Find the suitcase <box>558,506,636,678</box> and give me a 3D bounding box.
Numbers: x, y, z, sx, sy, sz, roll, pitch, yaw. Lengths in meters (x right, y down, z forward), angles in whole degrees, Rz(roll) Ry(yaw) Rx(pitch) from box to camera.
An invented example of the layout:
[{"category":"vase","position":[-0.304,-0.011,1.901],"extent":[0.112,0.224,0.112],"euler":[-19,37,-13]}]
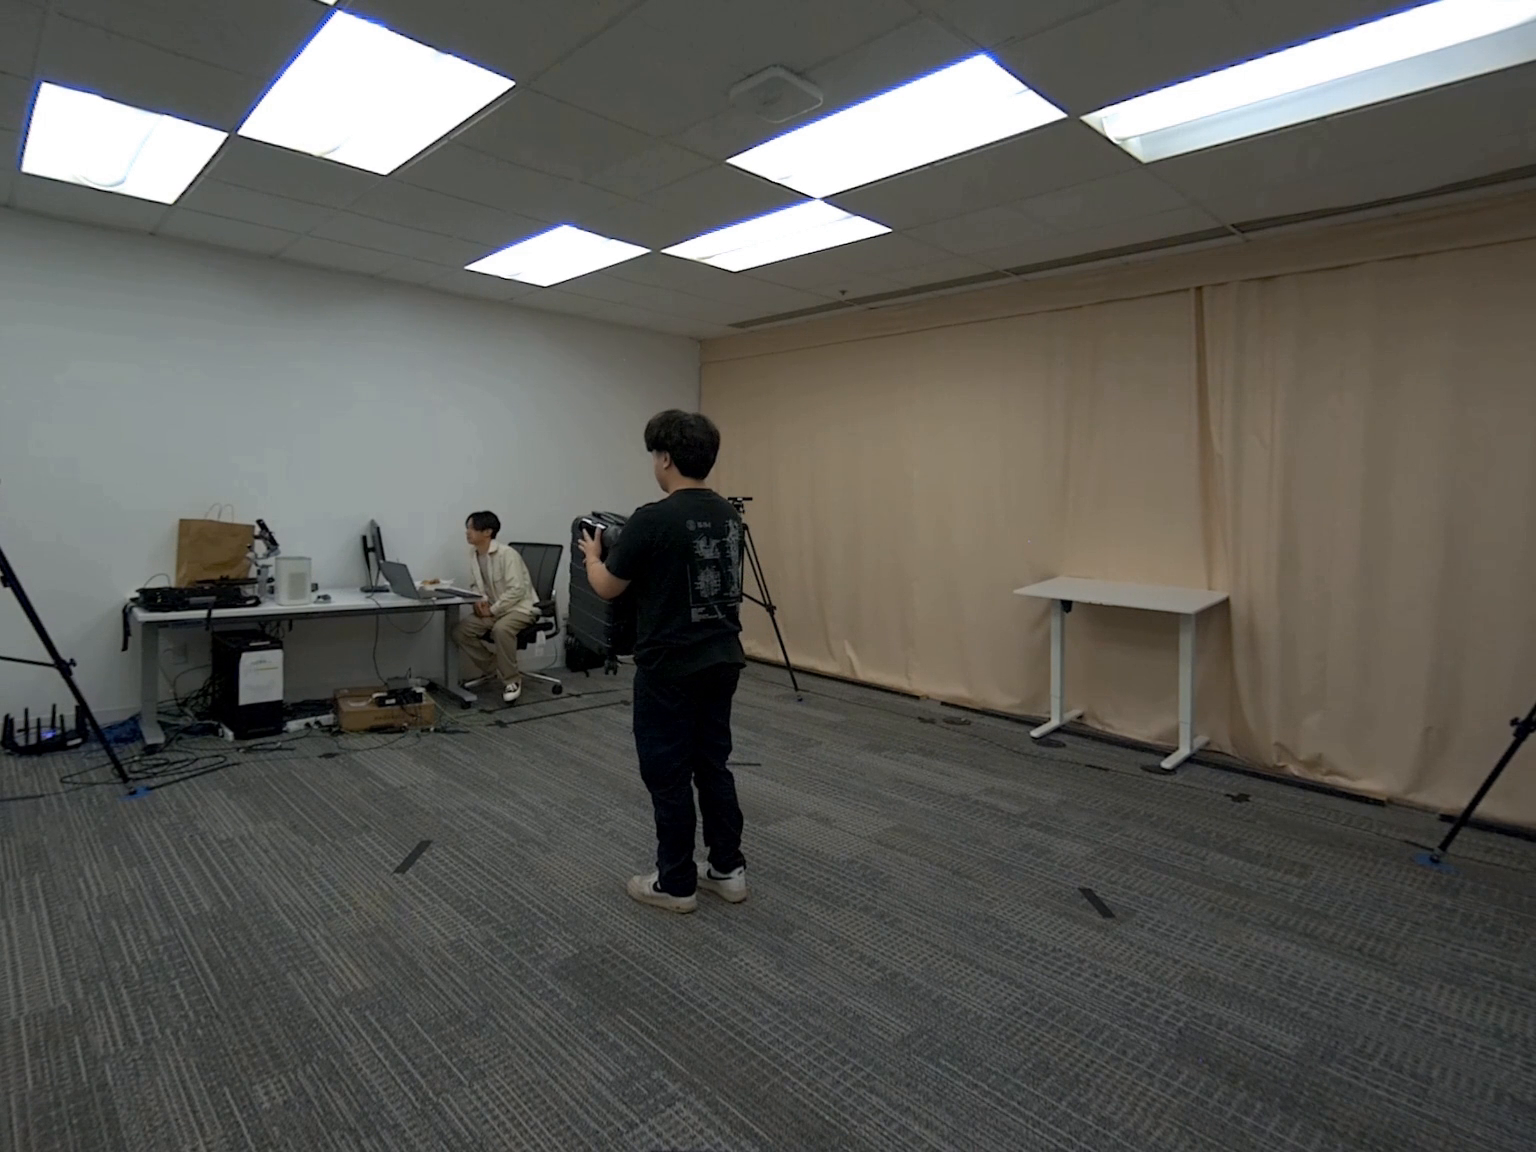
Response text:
[{"category":"suitcase","position":[-0.590,0.042,3.190],"extent":[0.243,0.545,0.386],"euler":[-5,15,-38]}]
